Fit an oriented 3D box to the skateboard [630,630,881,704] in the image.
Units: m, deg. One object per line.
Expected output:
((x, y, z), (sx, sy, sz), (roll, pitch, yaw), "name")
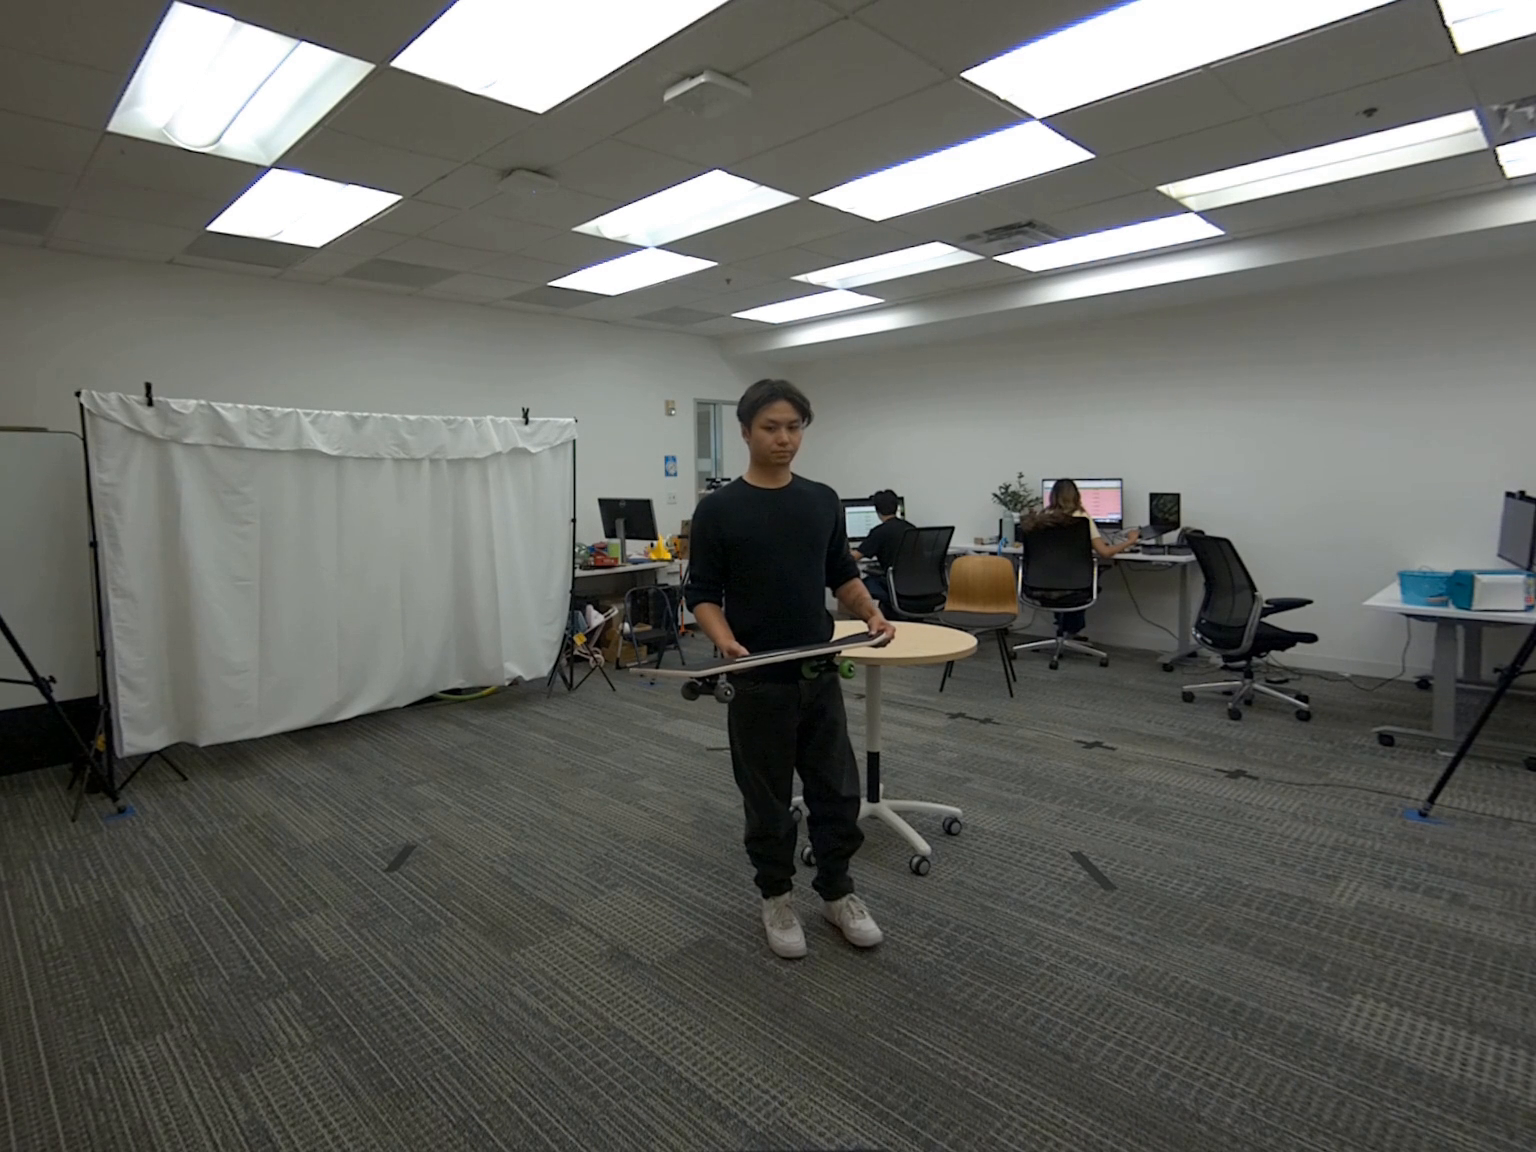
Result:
((0.010, 0.247, 2.229), (0.766, 0.111, 0.198), (-7, -2, -37), "skateboard")
